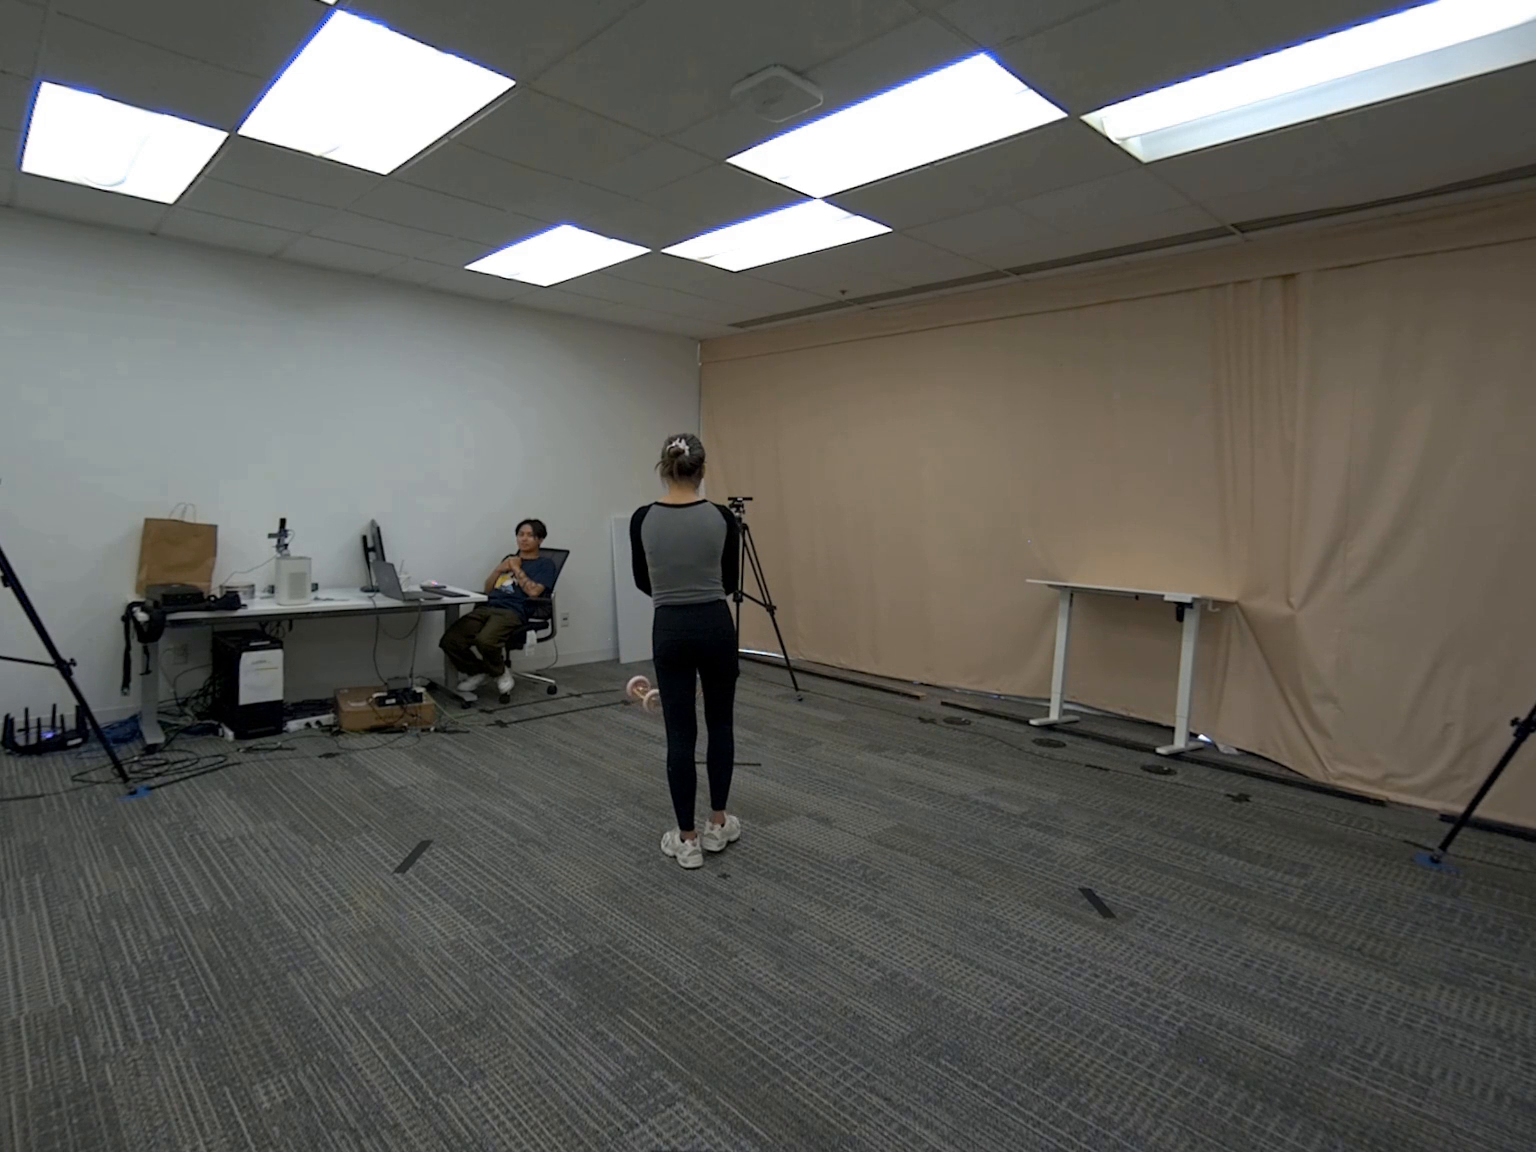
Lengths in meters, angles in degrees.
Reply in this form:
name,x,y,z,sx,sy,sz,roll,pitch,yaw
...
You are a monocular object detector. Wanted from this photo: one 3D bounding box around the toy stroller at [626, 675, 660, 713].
name,x,y,z,sx,sy,sz,roll,pitch,yaw
toy stroller,-0.366,0.416,3.654,0.334,0.536,0.286,27,-6,-21
